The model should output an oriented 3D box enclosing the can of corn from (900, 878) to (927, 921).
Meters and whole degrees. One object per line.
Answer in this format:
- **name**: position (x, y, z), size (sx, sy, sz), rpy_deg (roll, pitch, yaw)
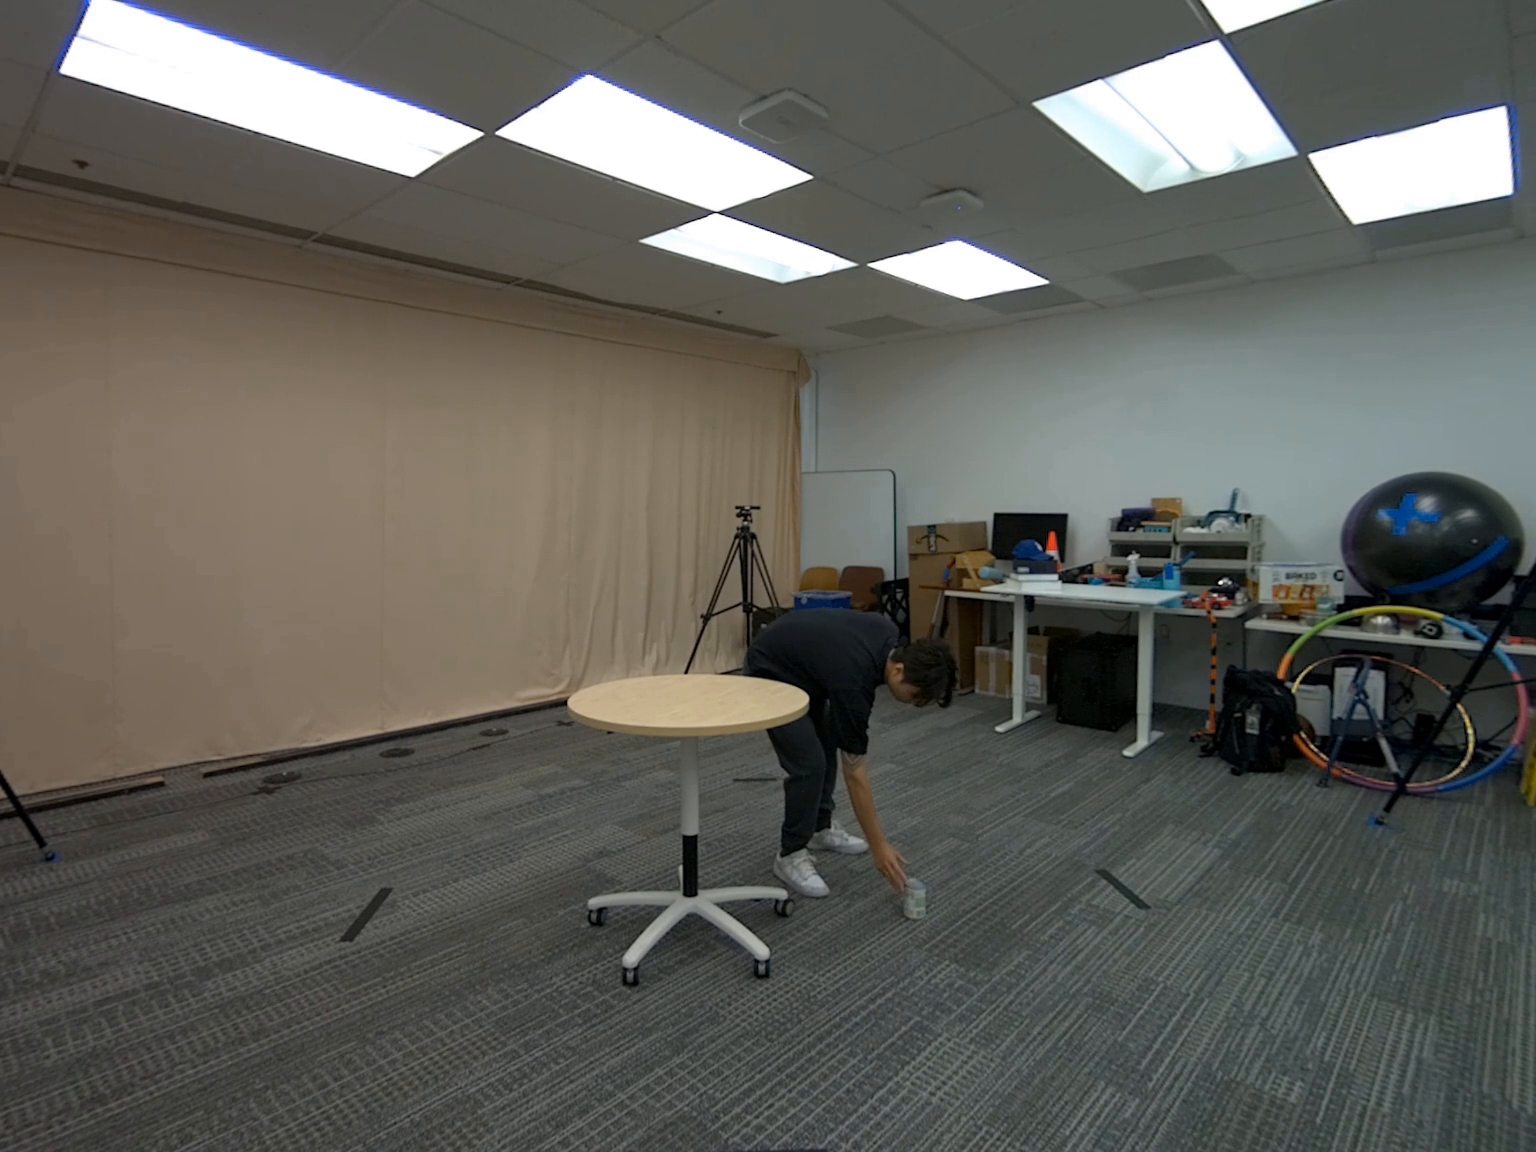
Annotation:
- **can of corn**: position (0.502, 1.102, 2.855), size (0.074, 0.111, 0.074), rpy_deg (-1, 3, -2)
